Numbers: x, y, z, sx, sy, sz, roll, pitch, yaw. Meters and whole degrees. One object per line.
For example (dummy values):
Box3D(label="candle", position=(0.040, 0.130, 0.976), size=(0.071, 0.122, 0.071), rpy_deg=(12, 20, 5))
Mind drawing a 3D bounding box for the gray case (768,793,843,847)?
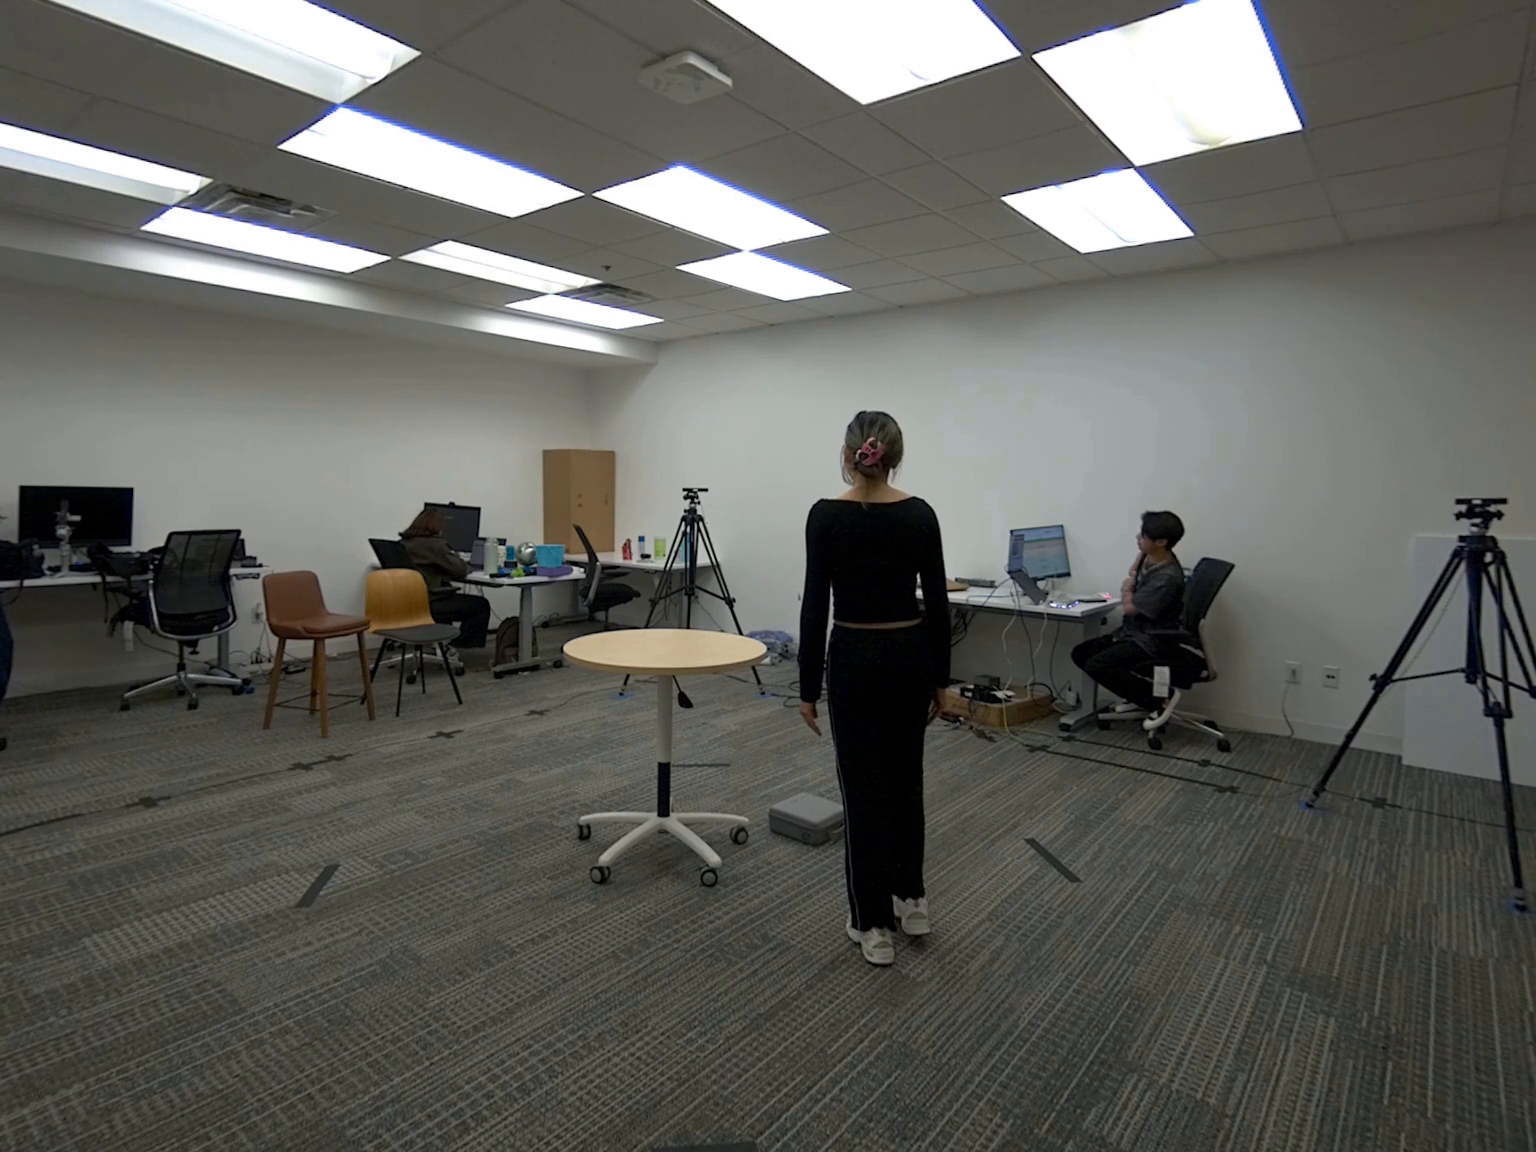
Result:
Box3D(label="gray case", position=(0.160, 0.983, 3.487), size=(0.269, 0.104, 0.249), rpy_deg=(7, 7, 39))
